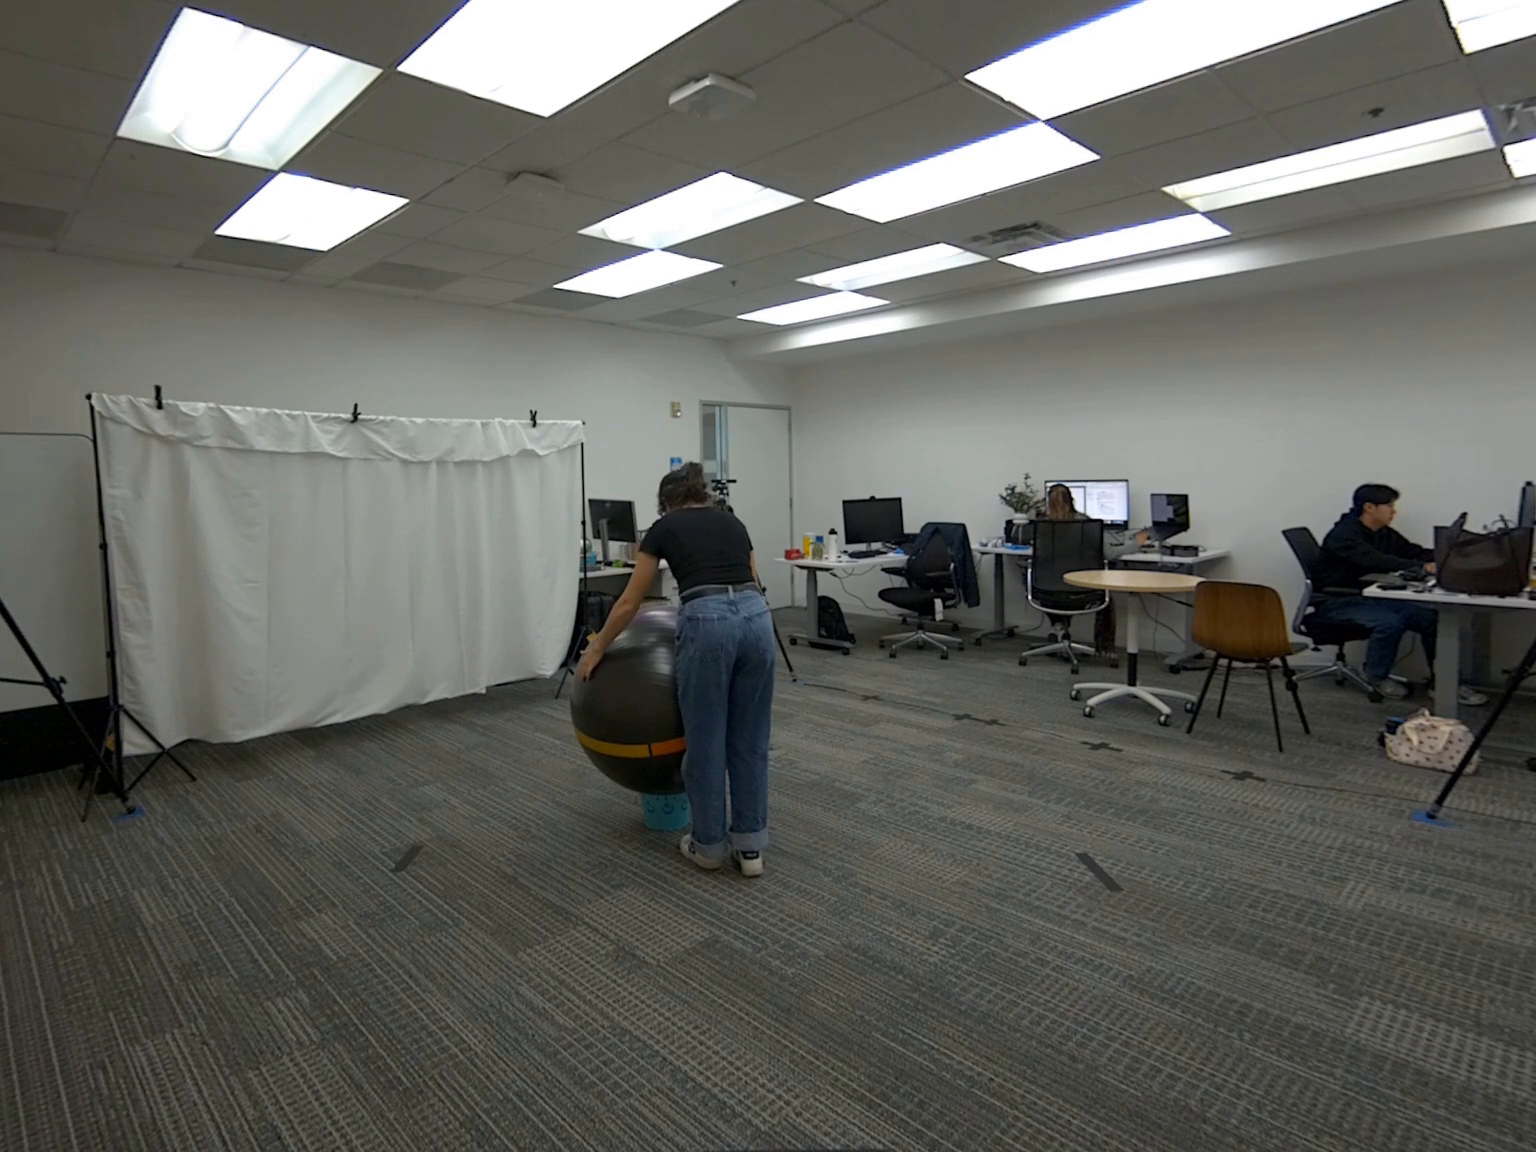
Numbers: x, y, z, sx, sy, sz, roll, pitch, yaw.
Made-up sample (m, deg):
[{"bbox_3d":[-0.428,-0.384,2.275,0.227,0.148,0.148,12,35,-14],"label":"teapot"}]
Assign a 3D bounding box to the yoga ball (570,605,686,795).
[{"bbox_3d":[-0.425,0.502,3.483,0.757,0.755,0.762,-1,5,-2],"label":"yoga ball"}]
